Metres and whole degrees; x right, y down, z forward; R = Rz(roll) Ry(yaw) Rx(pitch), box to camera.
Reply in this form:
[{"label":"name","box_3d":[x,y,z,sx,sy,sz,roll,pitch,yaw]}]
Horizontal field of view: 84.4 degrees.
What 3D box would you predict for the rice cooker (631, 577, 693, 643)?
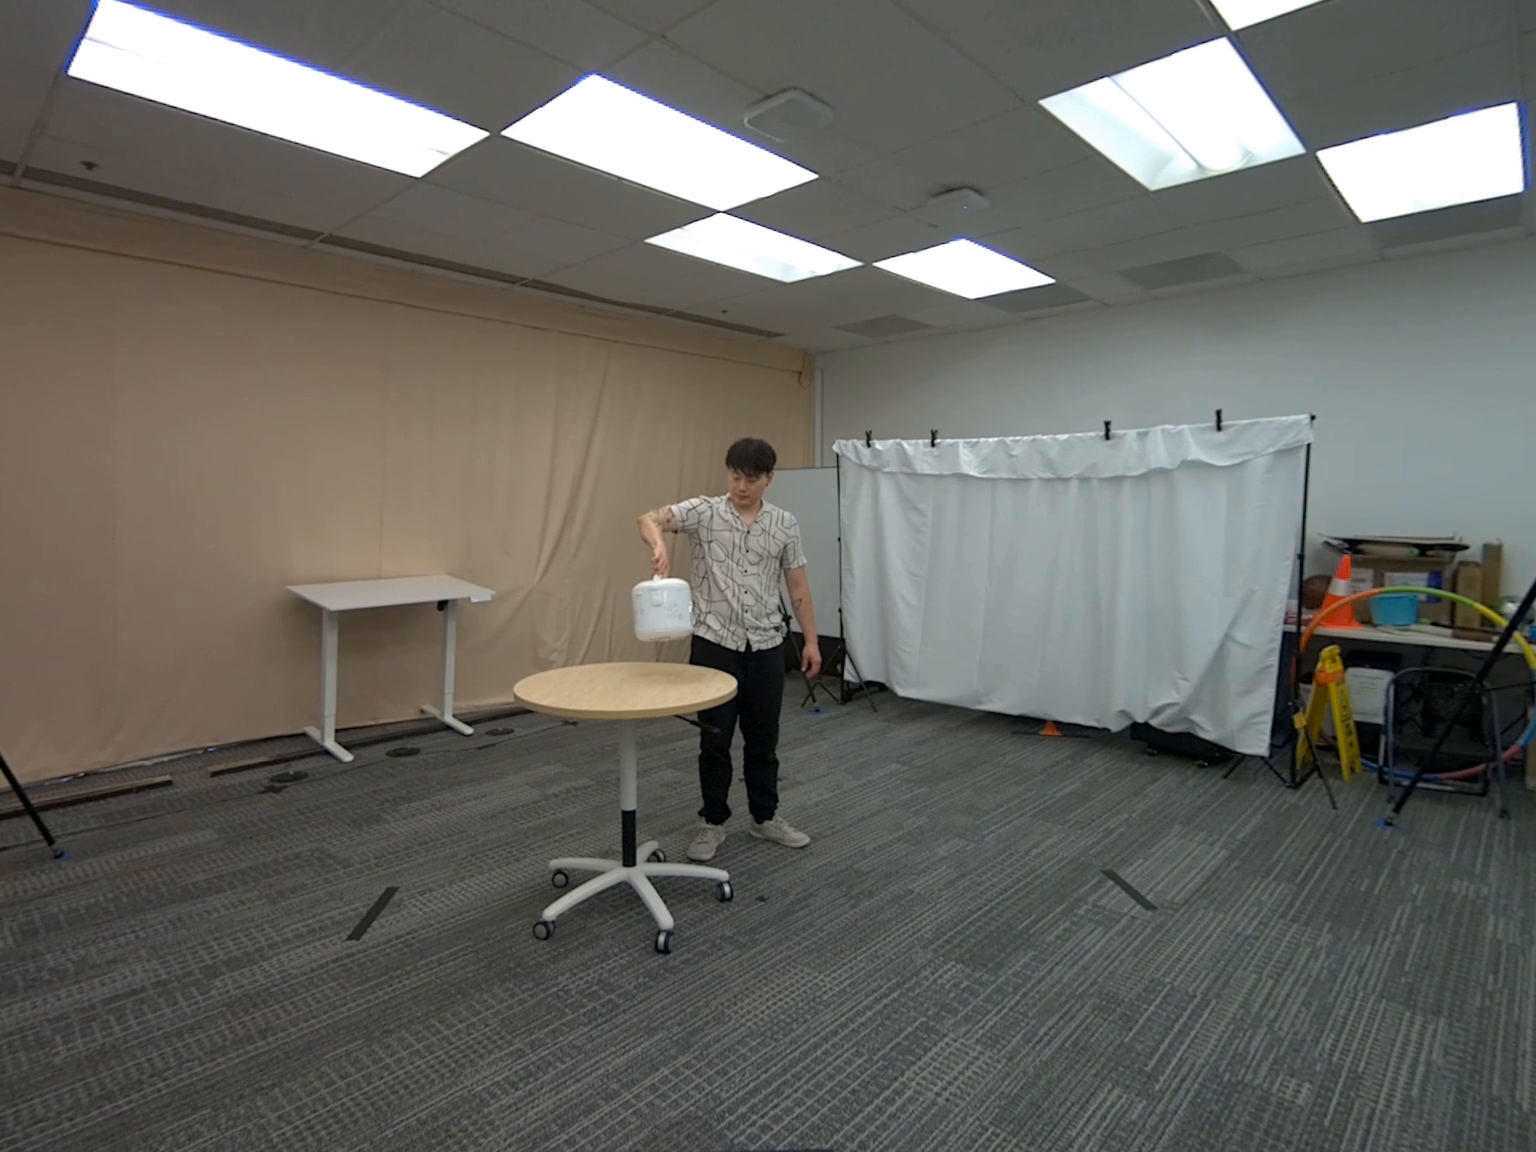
[{"label":"rice cooker","box_3d":[-0.376,0.109,3.014,0.219,0.234,0.218,-8,-9,5]}]
